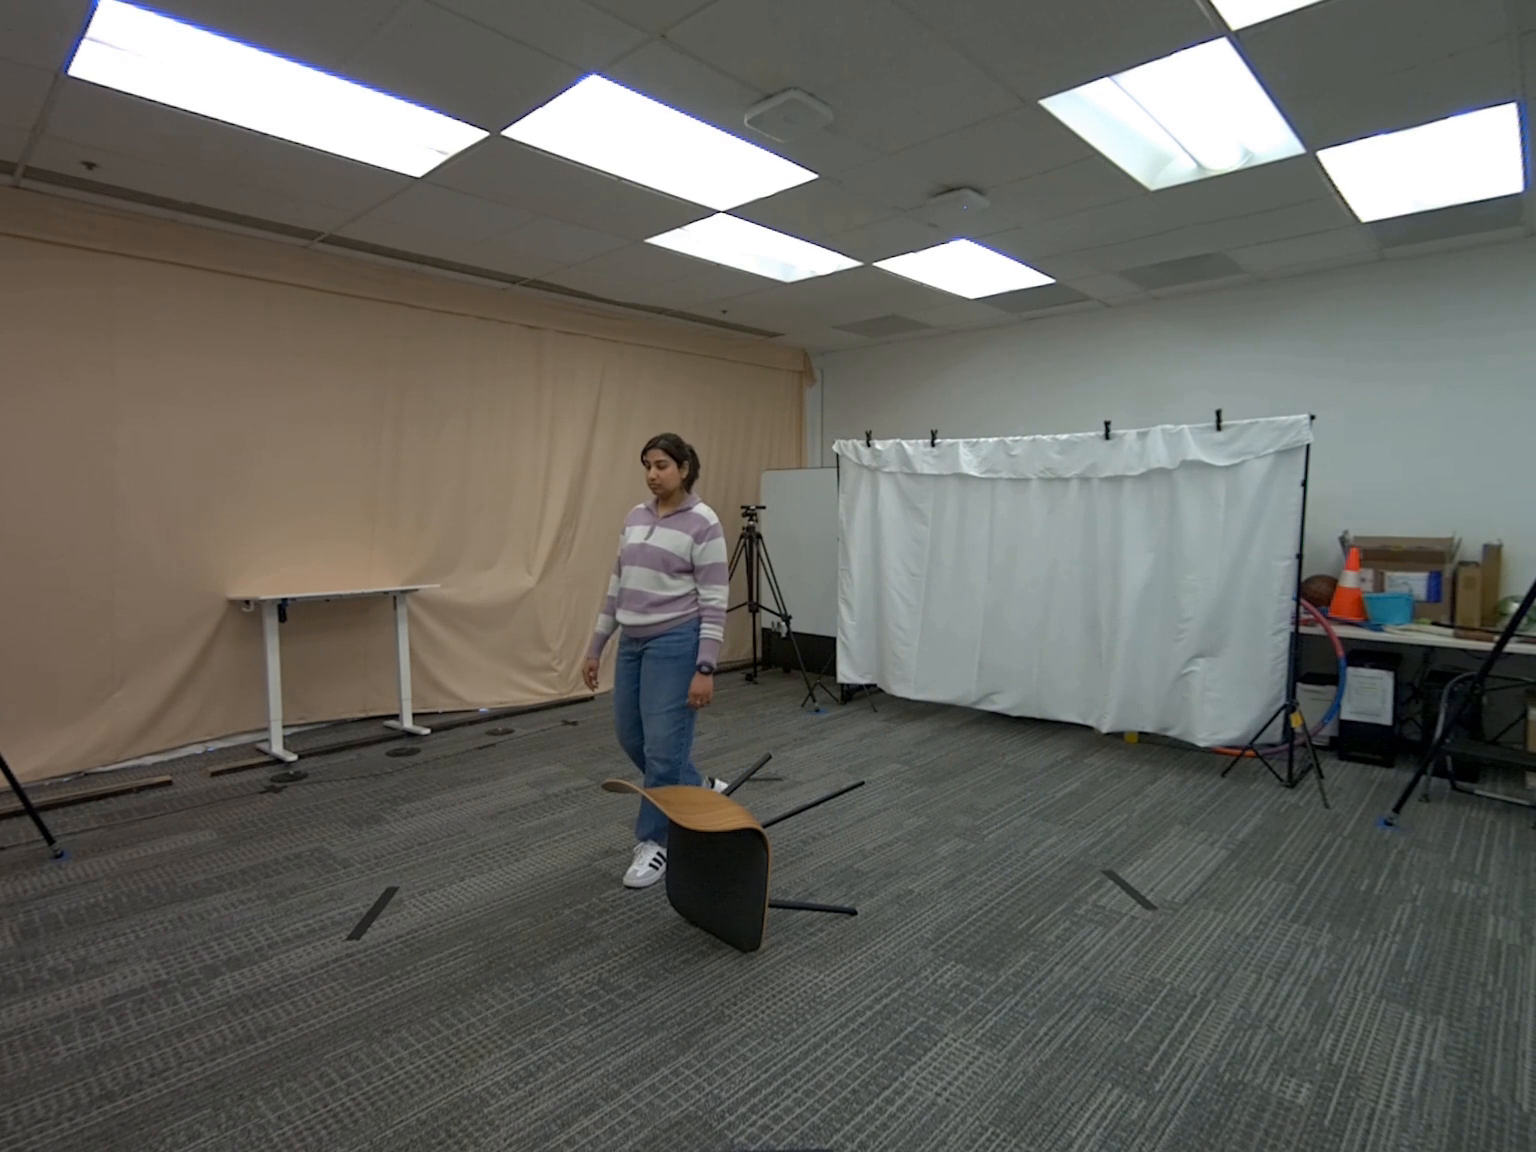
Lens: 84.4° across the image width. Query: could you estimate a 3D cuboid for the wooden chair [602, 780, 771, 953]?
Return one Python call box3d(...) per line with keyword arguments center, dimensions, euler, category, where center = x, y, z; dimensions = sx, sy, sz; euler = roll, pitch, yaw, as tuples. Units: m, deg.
box3d(center=(-0.135, 0.912, 2.740), dimensions=(0.494, 0.524, 0.847), euler=(4, -2, 45), category="wooden chair")
